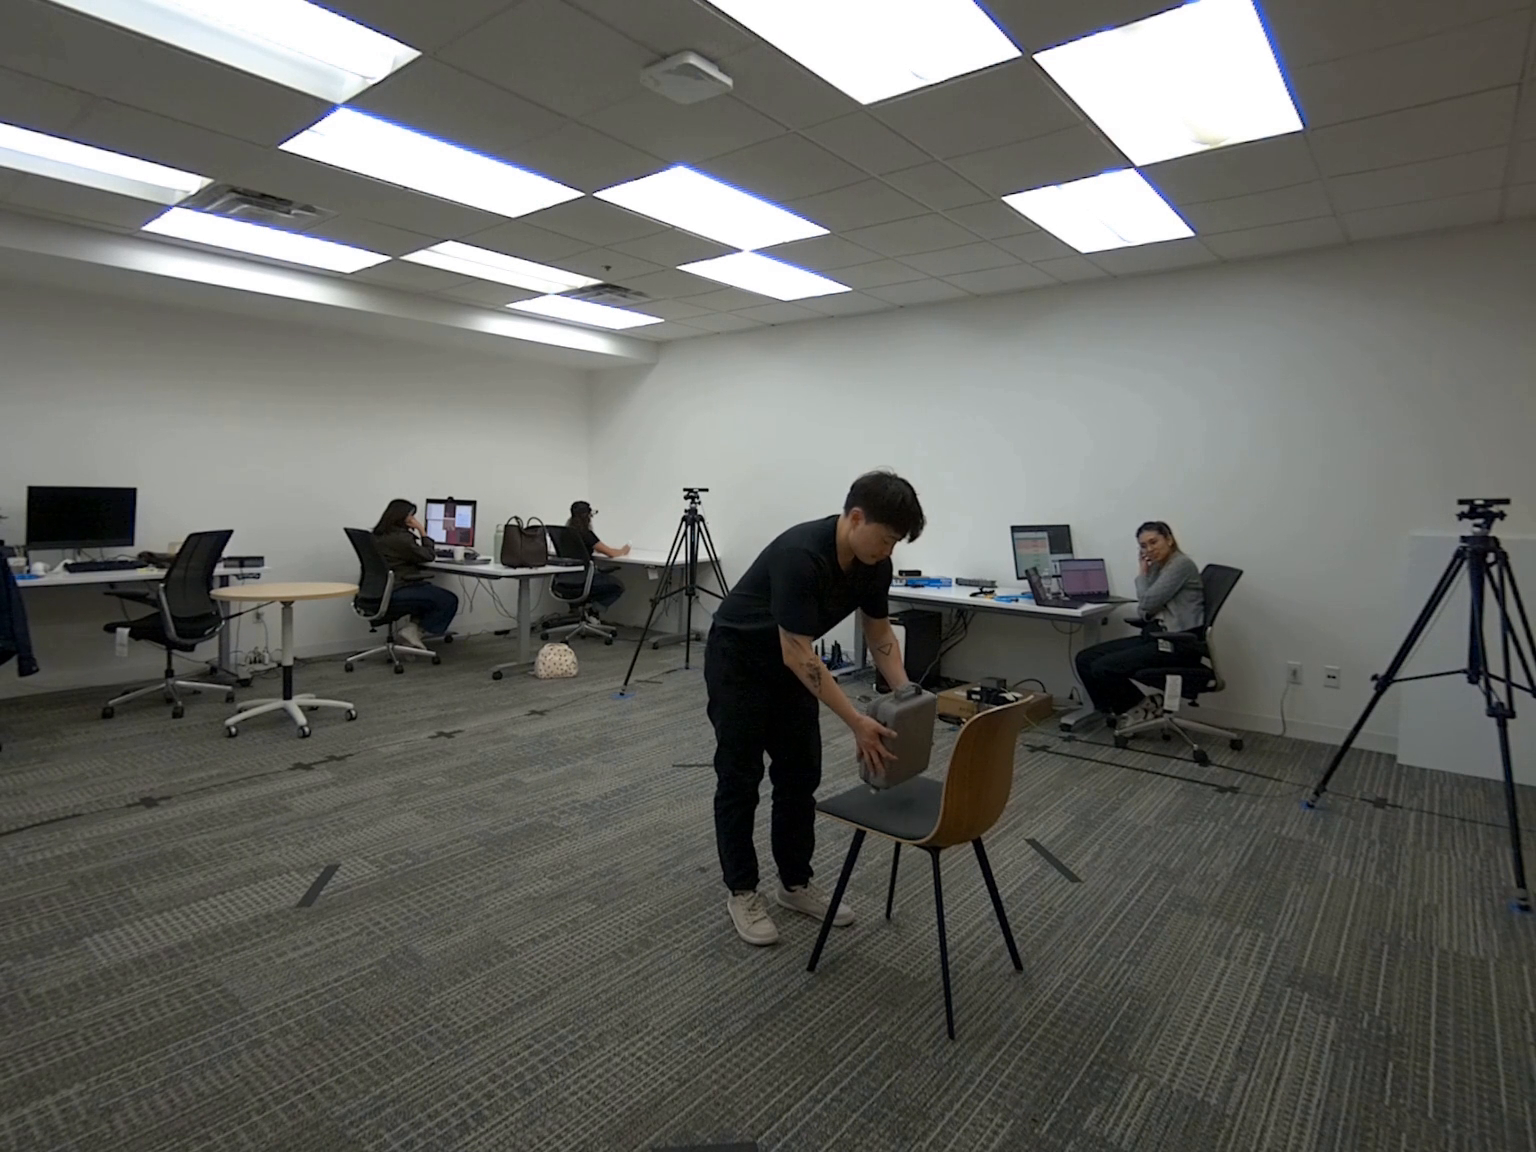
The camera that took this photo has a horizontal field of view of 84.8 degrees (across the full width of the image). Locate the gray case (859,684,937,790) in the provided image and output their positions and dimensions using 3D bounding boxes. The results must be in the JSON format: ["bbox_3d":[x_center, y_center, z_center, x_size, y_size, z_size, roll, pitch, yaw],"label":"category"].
[{"bbox_3d":[0.374,0.477,2.465,0.250,0.257,0.108,-1,19,-31],"label":"gray case"}]
